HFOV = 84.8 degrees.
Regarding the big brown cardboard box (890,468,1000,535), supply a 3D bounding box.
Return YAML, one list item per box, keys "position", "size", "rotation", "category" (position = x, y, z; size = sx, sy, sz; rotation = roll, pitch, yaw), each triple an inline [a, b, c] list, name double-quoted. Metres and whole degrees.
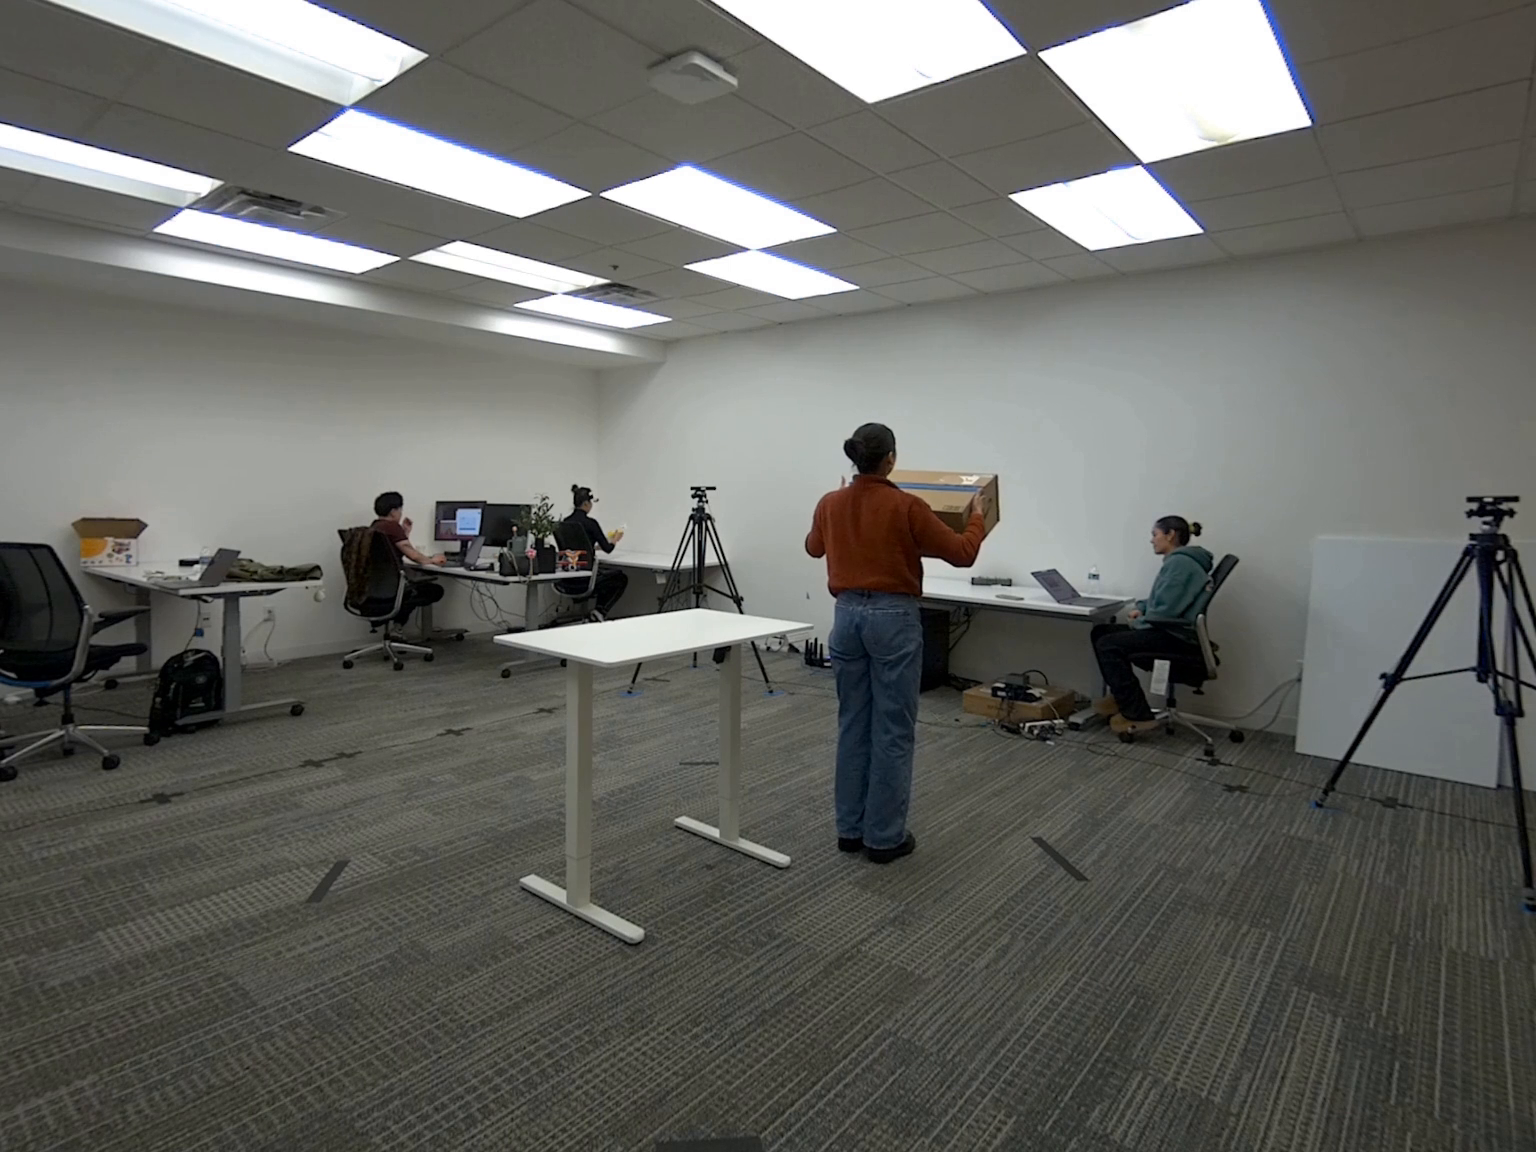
- position: [0.619, -0.276, 3.583]
  size: [0.608, 0.228, 0.414]
  rotation: [6, 28, 33]
  category: "big brown cardboard box"
